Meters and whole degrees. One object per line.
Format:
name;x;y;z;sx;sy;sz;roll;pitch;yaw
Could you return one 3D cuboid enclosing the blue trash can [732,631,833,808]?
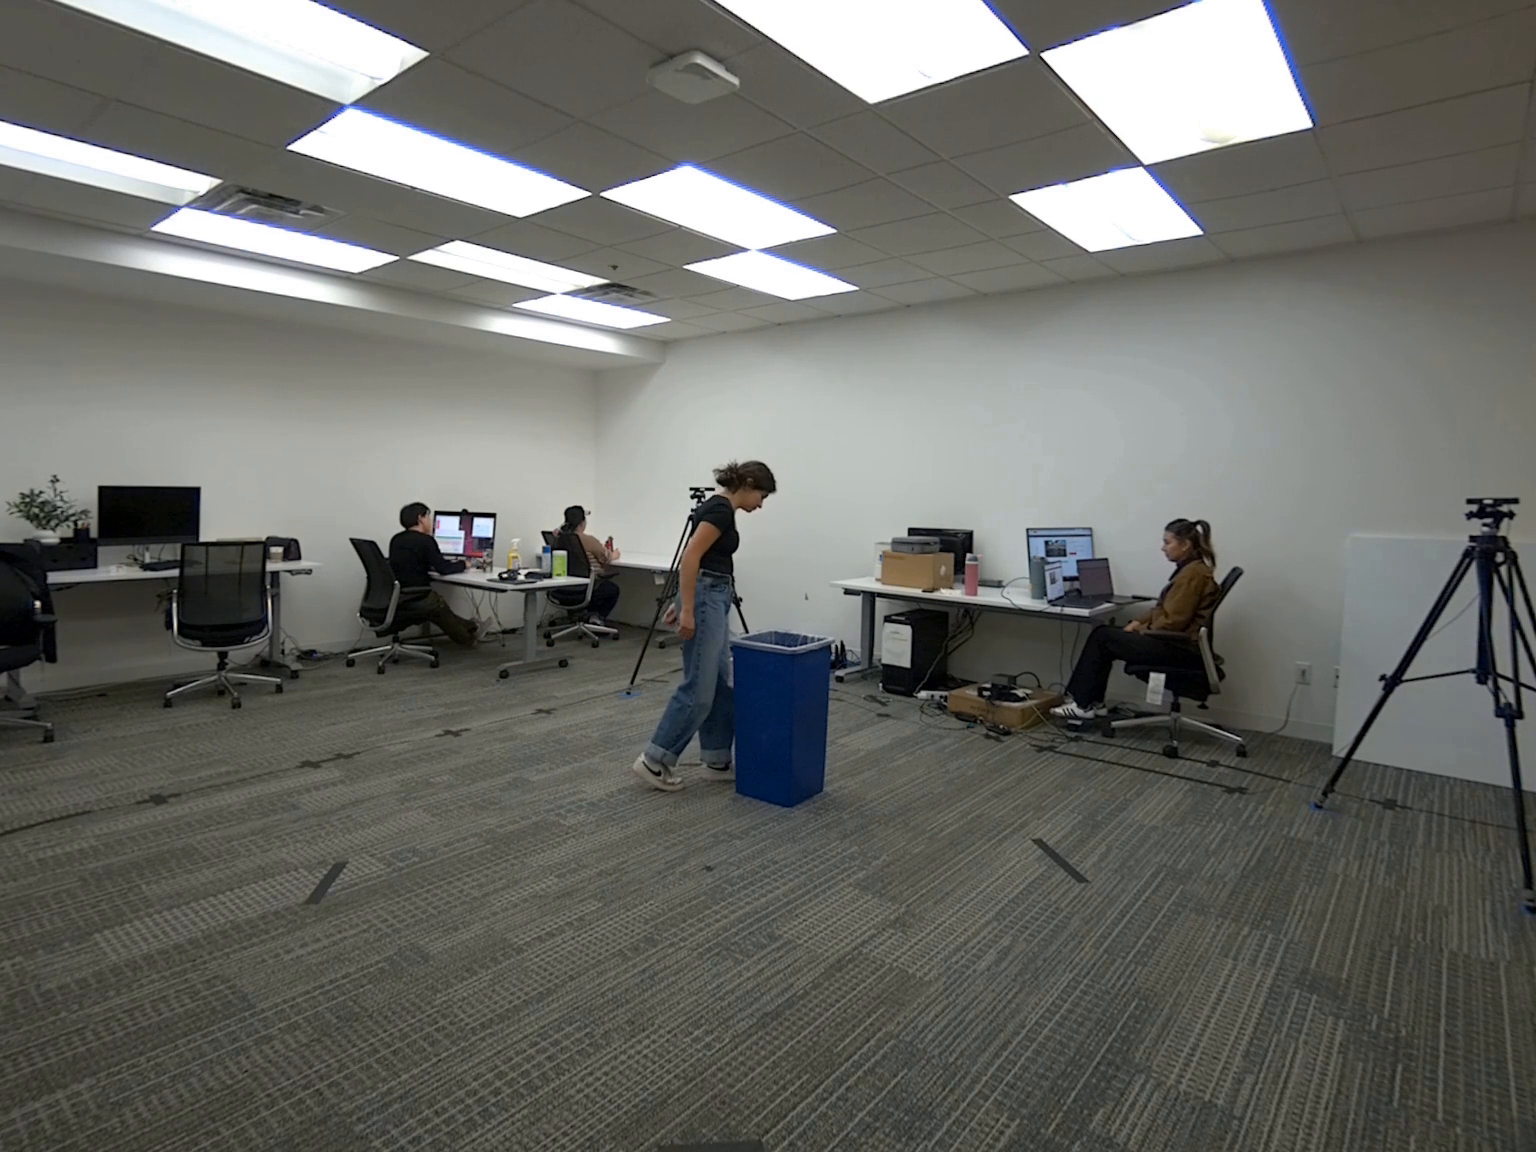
blue trash can;0.060;0.637;3.904;0.386;0.711;0.367;3;4;35
